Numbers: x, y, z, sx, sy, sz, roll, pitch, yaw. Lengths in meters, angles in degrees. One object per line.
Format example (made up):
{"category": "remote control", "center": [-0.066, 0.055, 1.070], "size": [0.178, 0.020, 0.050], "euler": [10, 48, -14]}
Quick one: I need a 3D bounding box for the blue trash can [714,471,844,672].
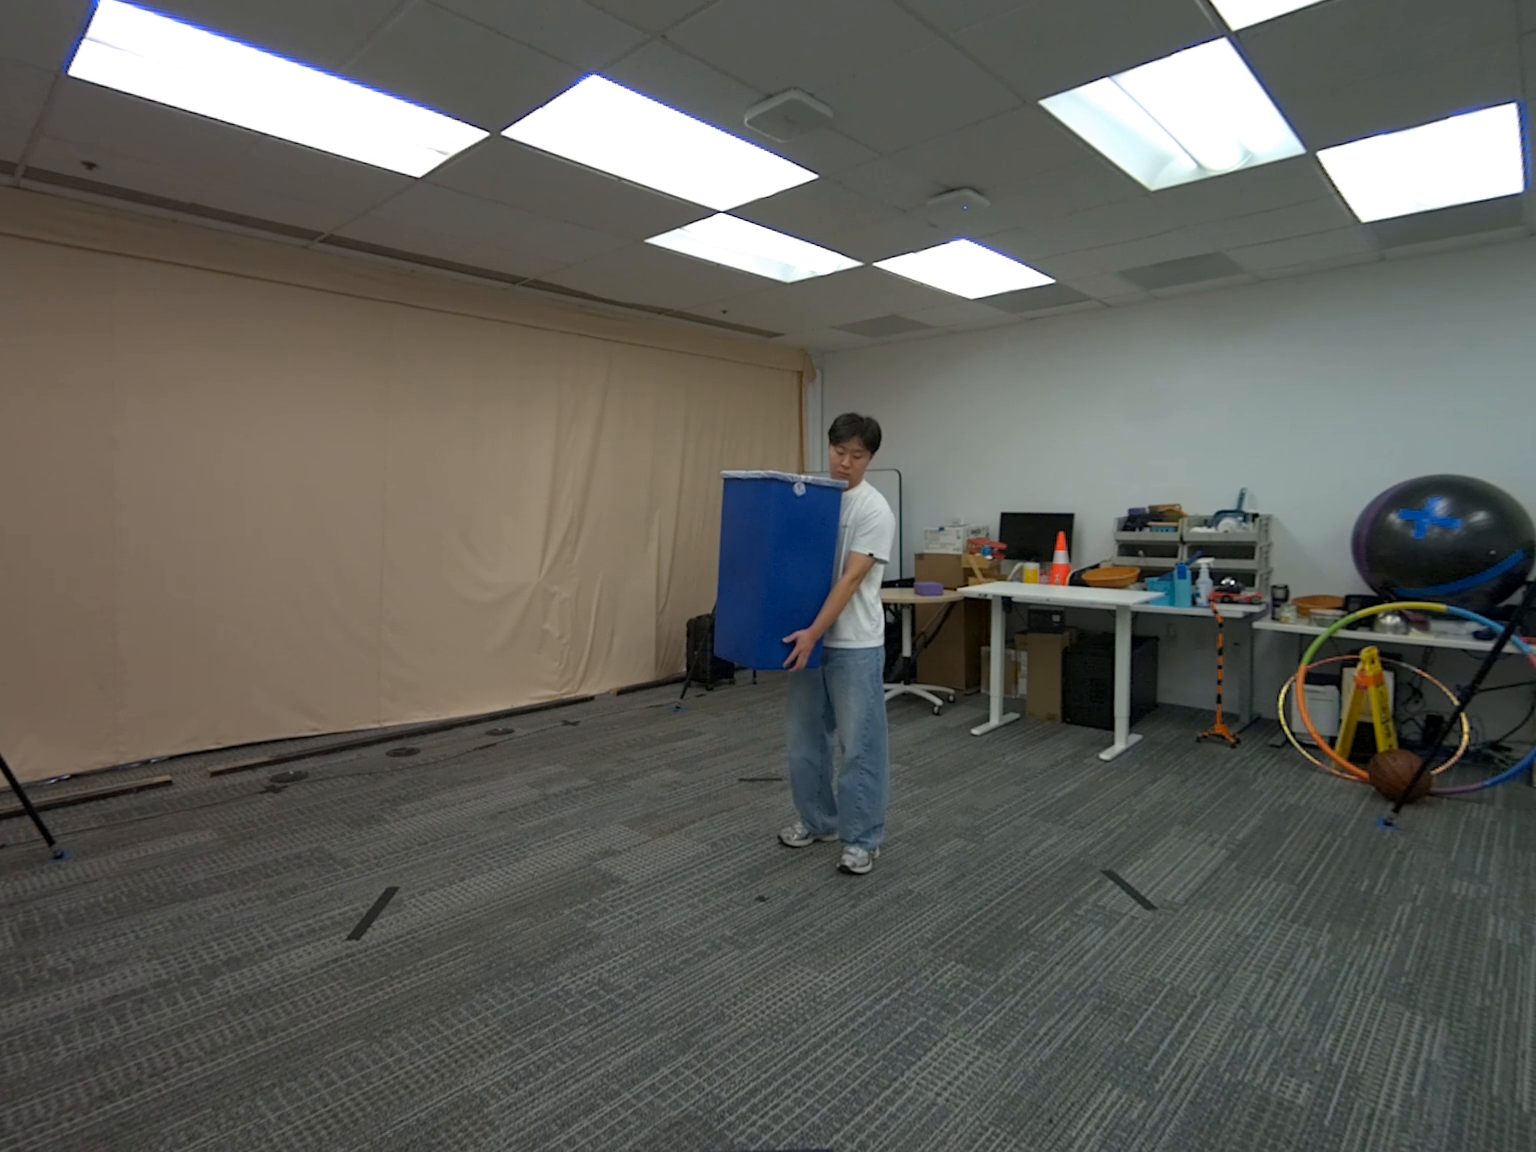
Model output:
{"category": "blue trash can", "center": [0.018, -0.025, 3.214], "size": [0.366, 0.713, 0.386], "euler": [5, 2, -35]}
